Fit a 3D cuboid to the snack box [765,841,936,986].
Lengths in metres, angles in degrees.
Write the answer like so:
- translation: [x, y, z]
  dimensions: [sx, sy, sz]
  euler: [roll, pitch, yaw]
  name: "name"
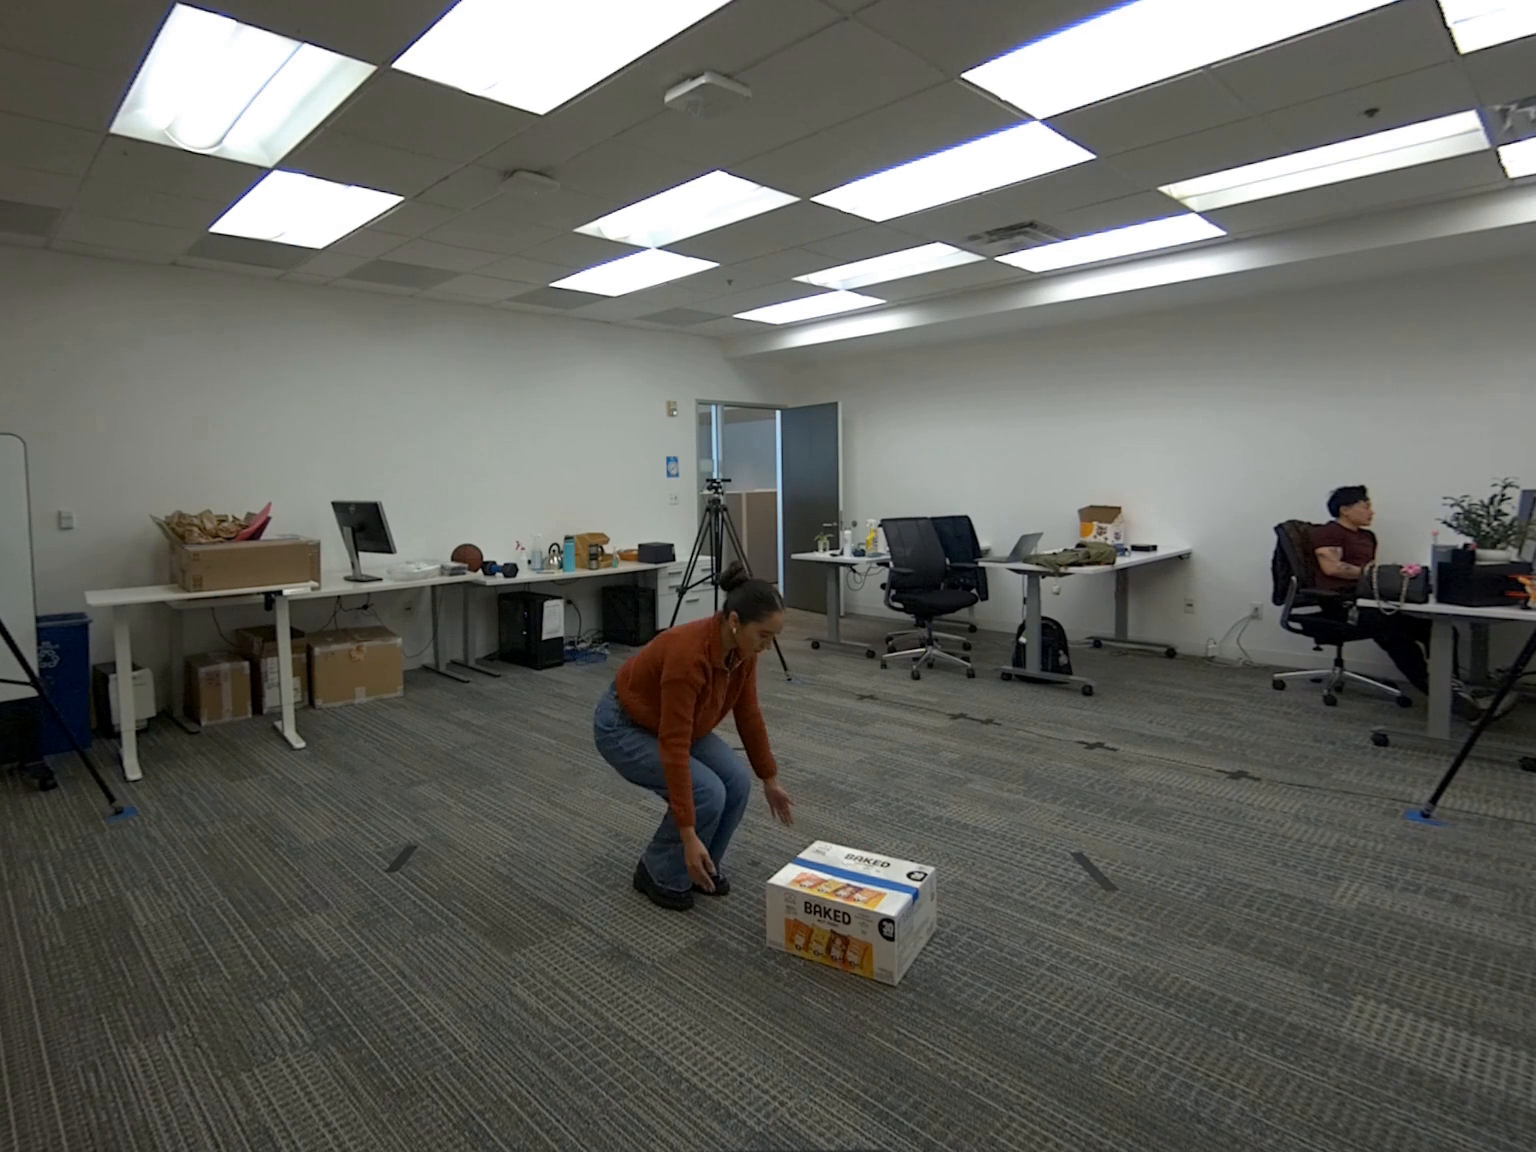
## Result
- translation: [0.254, 0.996, 2.572]
  dimensions: [0.416, 0.205, 0.333]
  euler: [3, 7, 31]
  name: "snack box"
